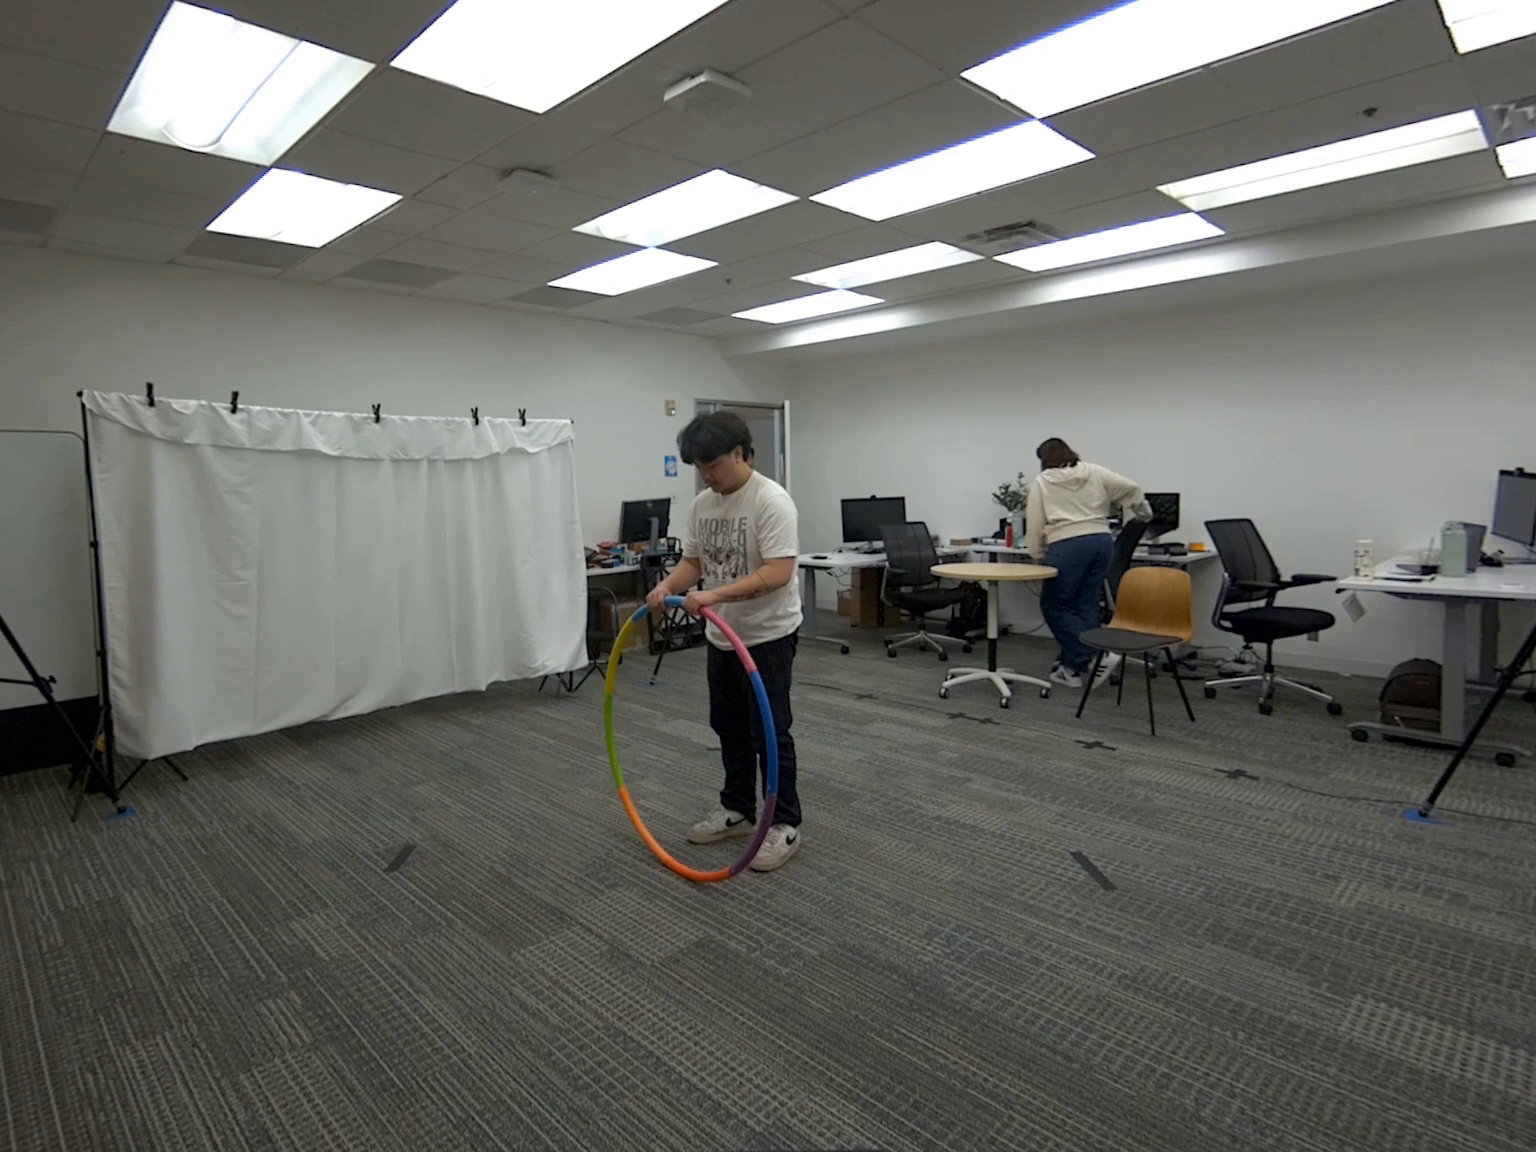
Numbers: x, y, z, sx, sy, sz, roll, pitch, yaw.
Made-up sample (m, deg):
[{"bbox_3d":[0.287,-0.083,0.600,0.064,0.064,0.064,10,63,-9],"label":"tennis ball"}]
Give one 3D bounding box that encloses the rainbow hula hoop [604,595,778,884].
[{"bbox_3d":[-0.309,0.568,3.005,0.050,0.983,1.016,-1,4,-41],"label":"rainbow hula hoop"}]
